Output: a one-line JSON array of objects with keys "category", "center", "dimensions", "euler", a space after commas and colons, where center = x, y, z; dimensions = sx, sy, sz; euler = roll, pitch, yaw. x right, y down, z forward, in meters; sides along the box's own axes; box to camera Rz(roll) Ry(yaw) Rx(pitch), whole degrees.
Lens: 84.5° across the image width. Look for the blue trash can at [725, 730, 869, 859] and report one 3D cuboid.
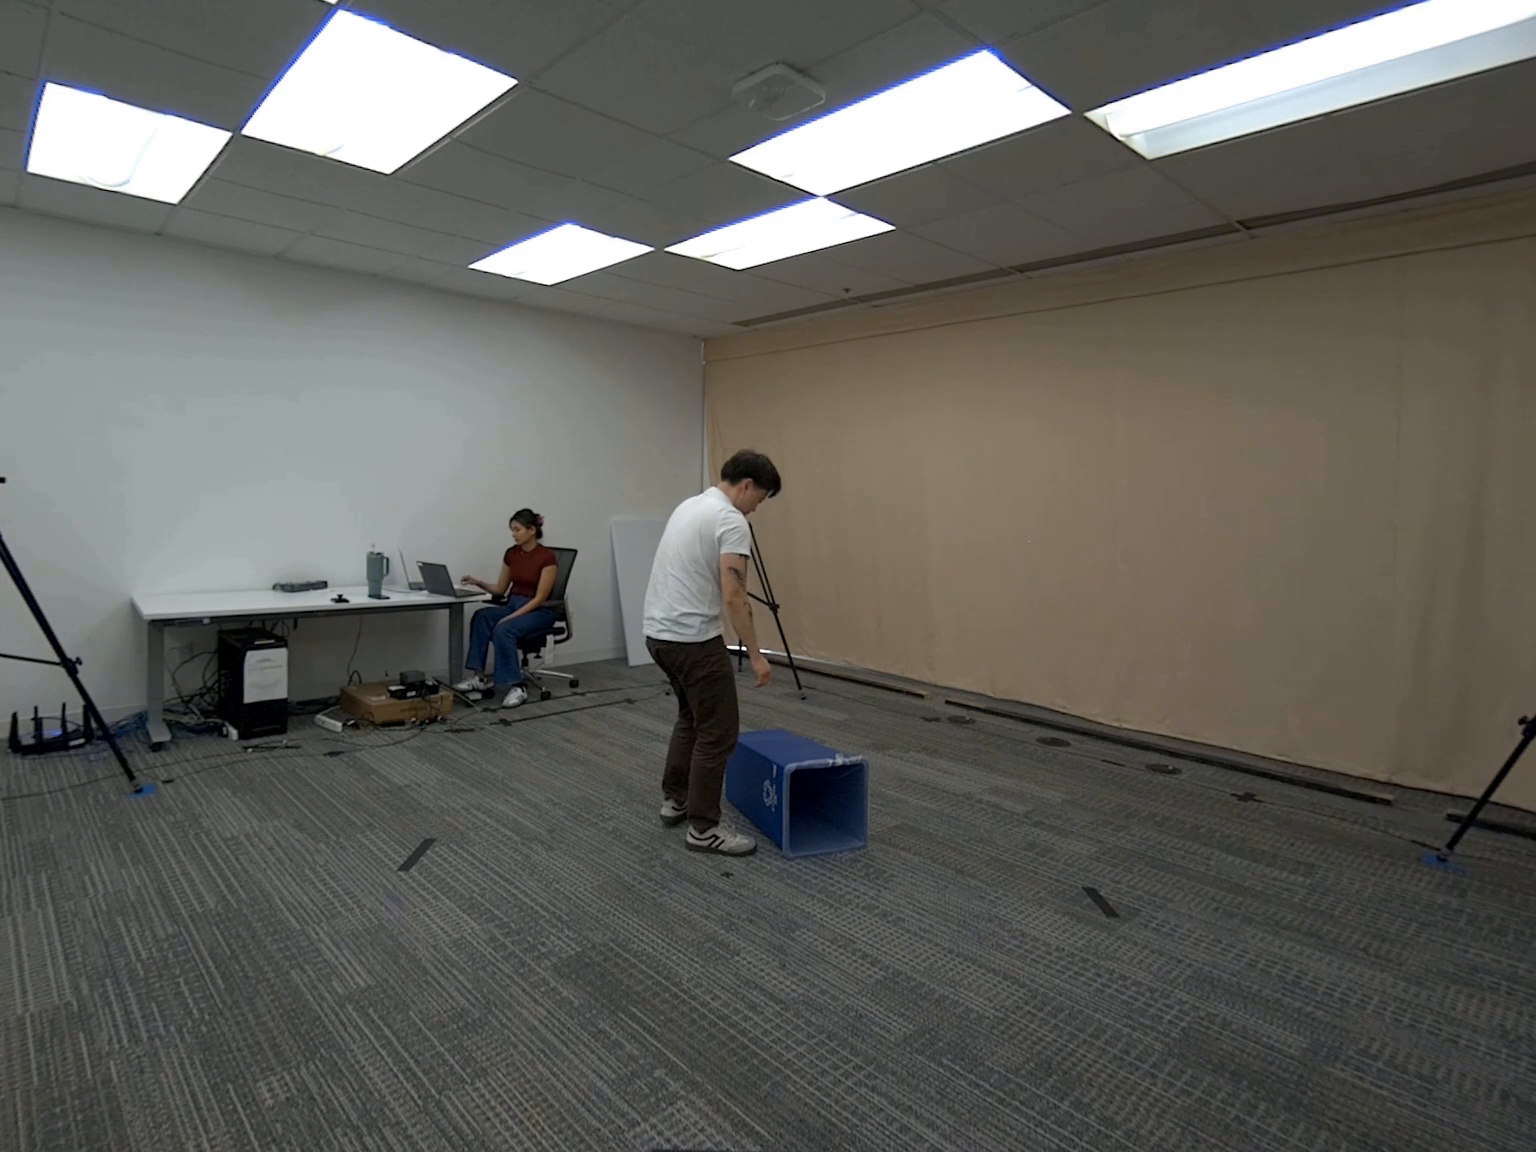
[{"category": "blue trash can", "center": [0.073, 0.894, 3.620], "dimensions": [0.367, 0.377, 0.727], "euler": [-1, 3, -25]}]
